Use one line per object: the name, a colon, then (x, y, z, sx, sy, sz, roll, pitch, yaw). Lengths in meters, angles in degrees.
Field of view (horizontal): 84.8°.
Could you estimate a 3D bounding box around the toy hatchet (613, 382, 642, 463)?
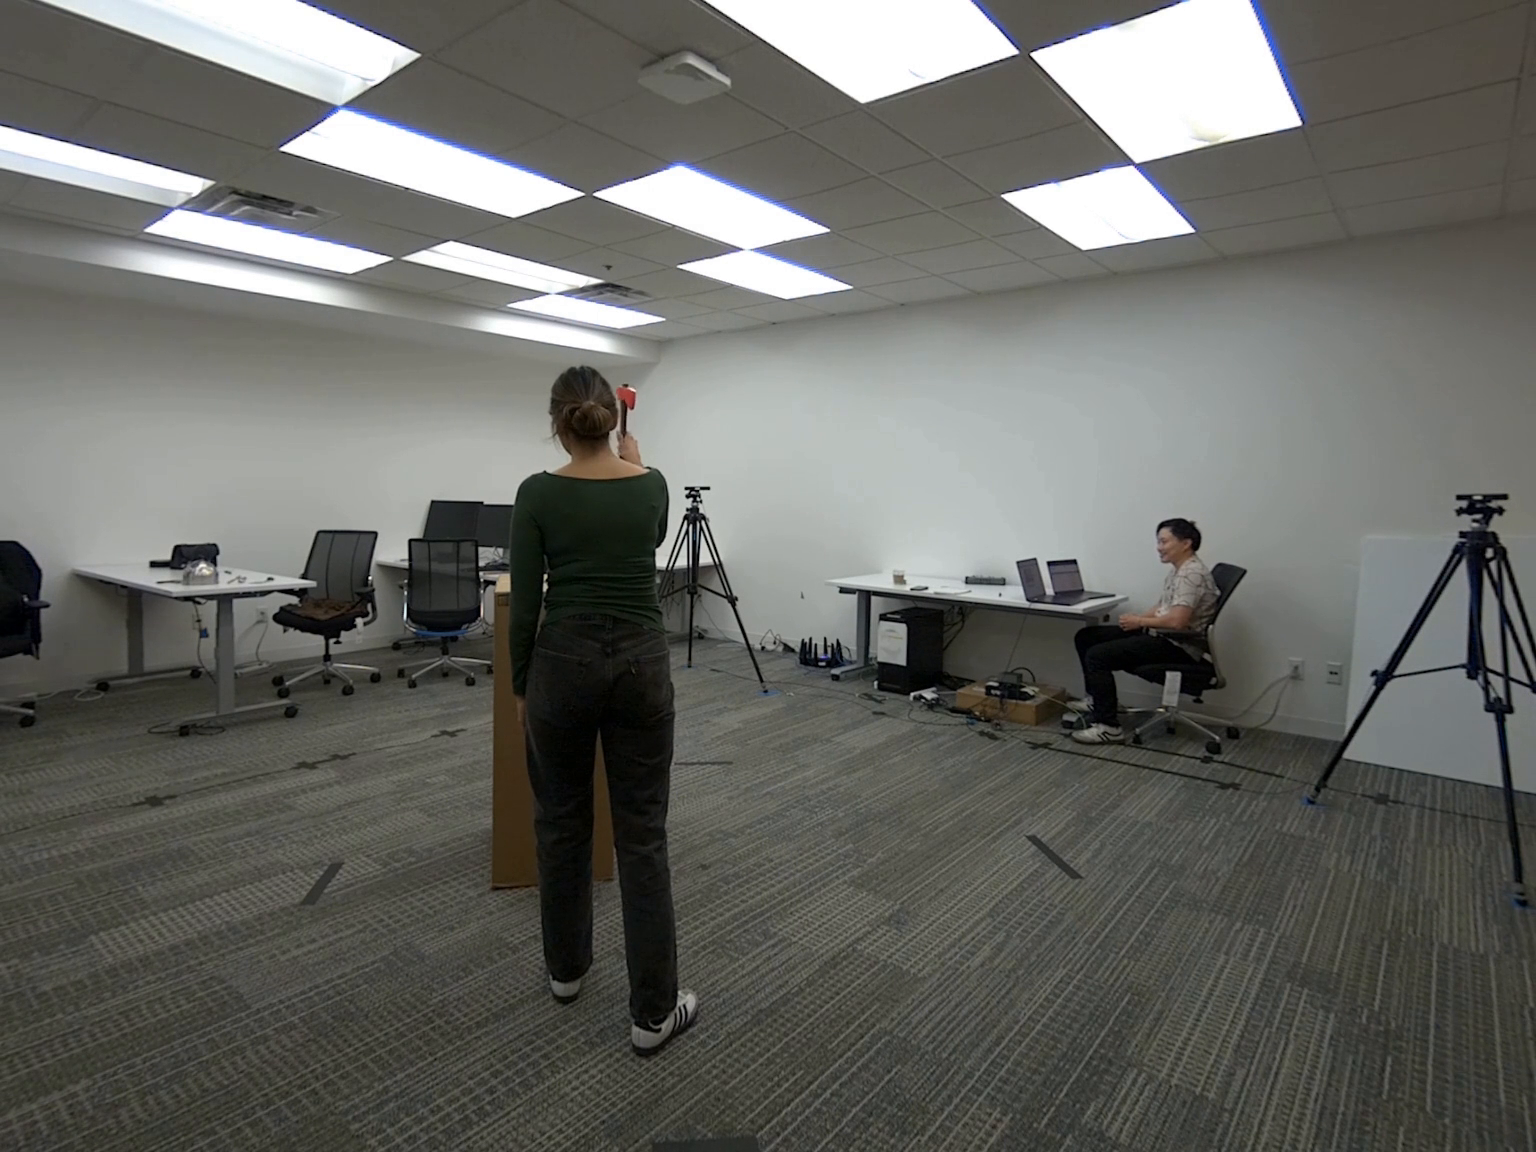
toy hatchet: (-0.456, -0.466, 2.681, 0.029, 0.273, 0.133, 0, -10, -32)
